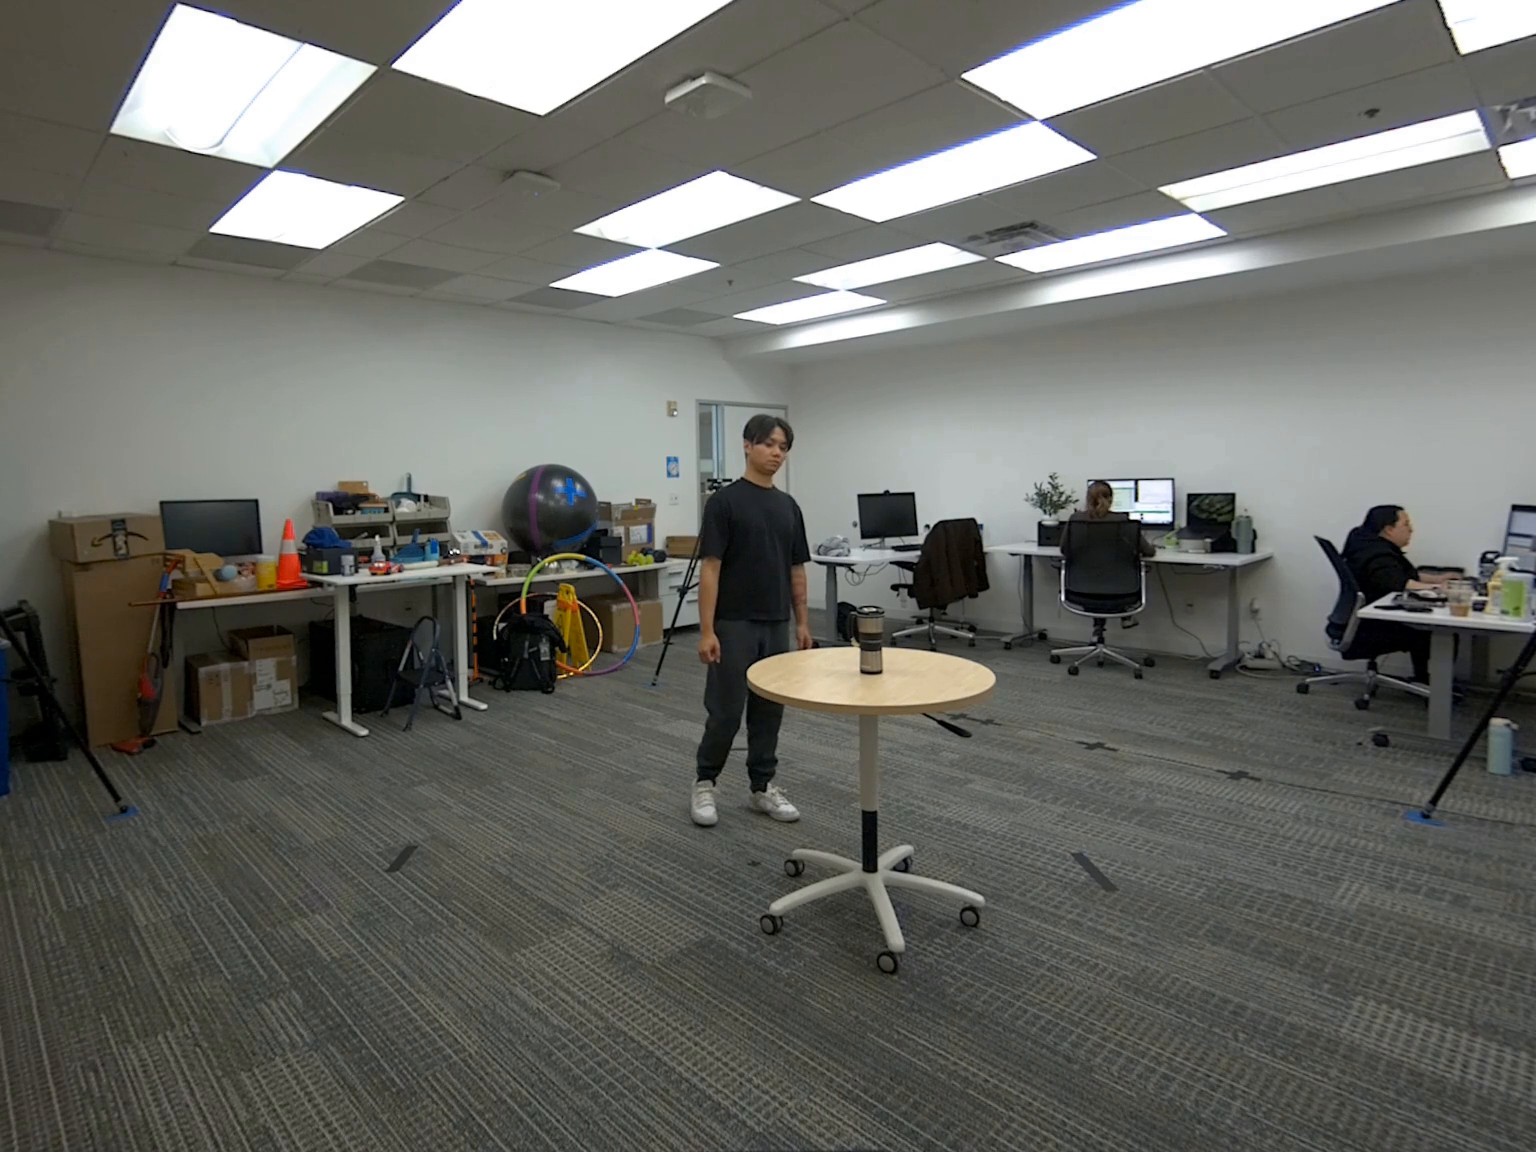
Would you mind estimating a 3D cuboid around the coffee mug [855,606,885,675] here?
[{"bbox_3d":[0.314,0.201,2.699,0.086,0.201,0.125,-10,11,-30],"label":"coffee mug"}]
